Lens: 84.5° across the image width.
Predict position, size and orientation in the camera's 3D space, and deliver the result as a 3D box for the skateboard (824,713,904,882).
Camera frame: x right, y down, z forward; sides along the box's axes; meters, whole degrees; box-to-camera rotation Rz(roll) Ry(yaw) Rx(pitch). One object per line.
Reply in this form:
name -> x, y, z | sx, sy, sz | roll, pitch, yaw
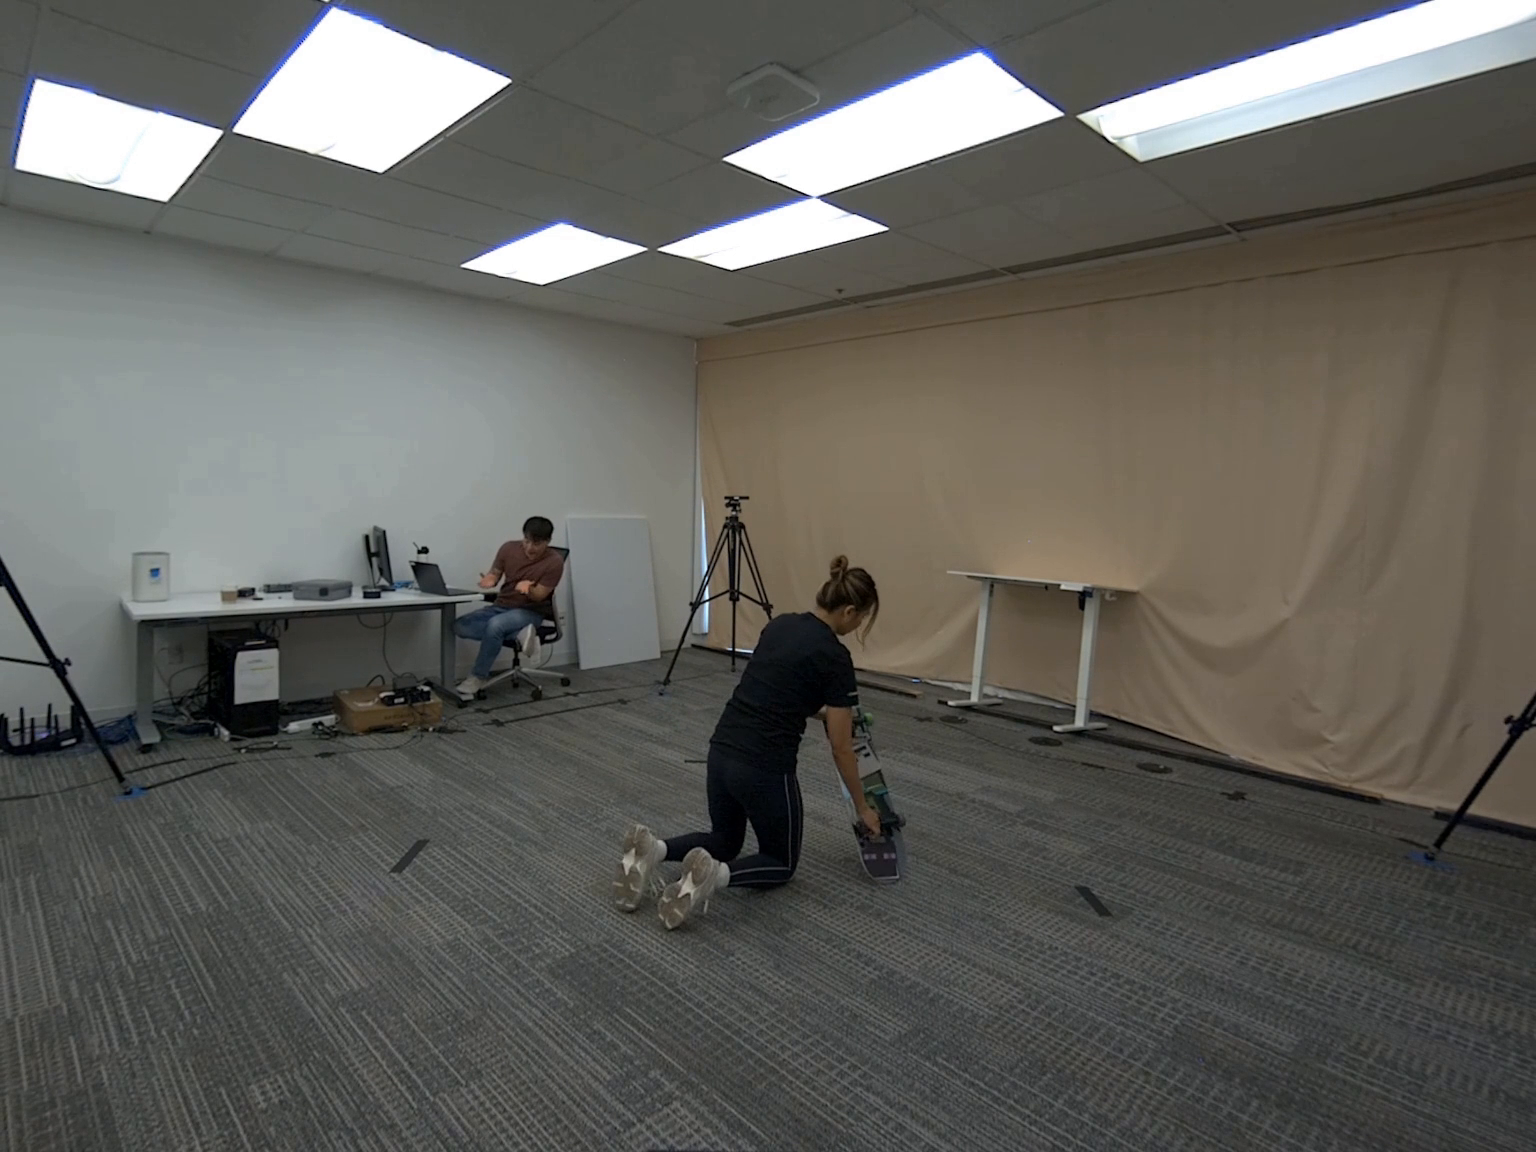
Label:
skateboard -> 0.362, 0.761, 3.245 | 0.191, 0.804, 0.109 | -2, -33, -20
